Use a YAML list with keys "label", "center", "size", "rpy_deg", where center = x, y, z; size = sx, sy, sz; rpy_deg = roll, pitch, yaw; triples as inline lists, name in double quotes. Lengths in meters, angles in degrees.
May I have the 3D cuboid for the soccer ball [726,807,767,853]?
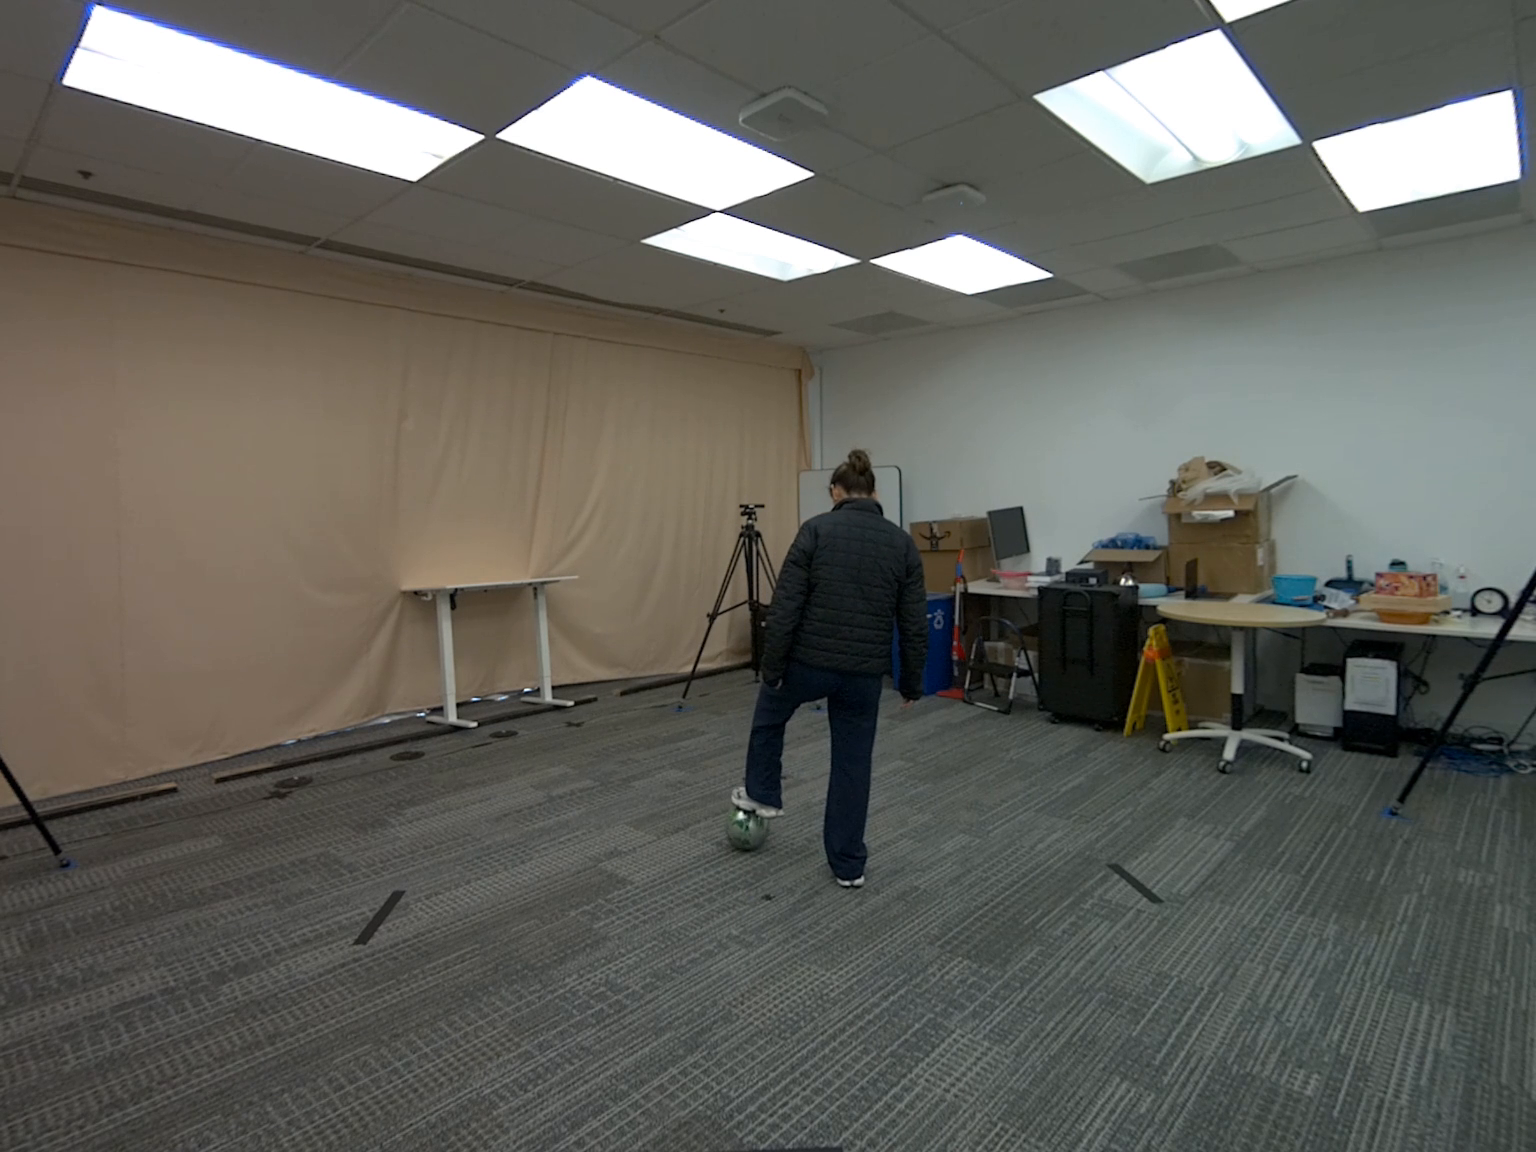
- label: "soccer ball"
  center: [-0.076, 1.011, 3.412]
  size: [0.187, 0.187, 0.188]
  rpy_deg: [-1, 4, -2]
